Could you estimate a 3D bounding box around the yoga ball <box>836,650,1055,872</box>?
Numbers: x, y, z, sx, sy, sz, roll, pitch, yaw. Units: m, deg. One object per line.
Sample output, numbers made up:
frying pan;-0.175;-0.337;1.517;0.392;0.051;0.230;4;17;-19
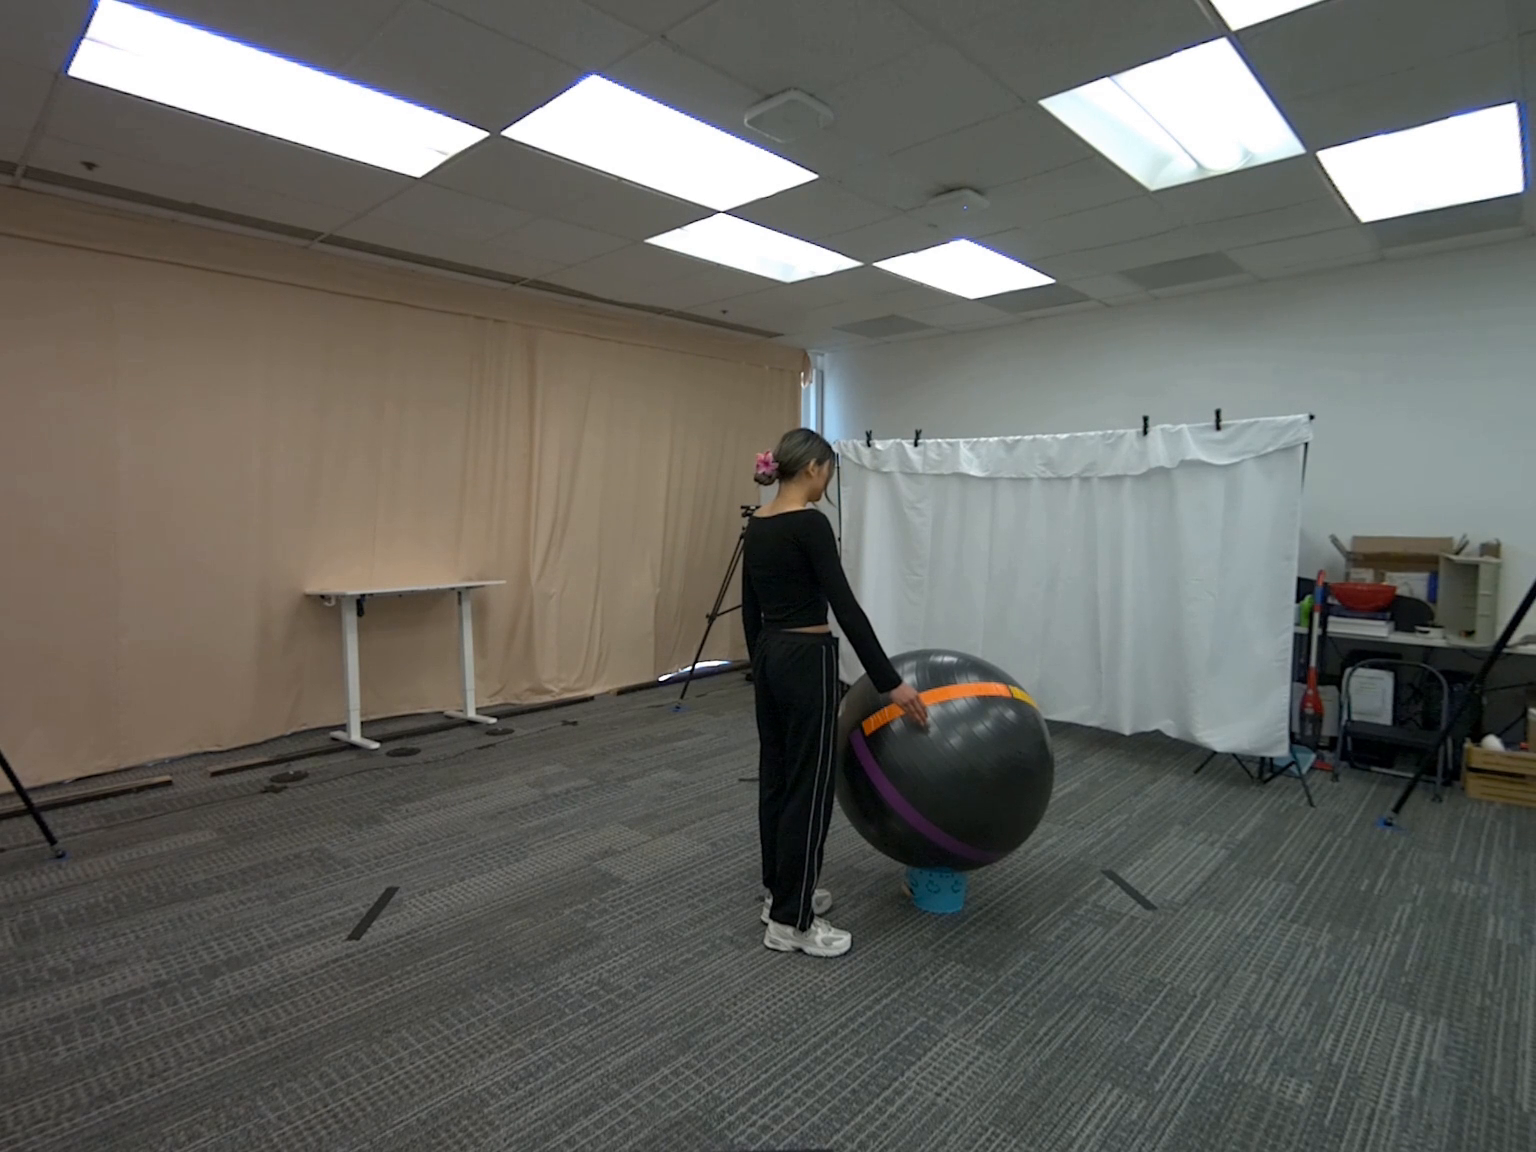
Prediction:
yoga ball;0.605;0.637;2.940;0.757;0.756;0.760;0;4;-2
